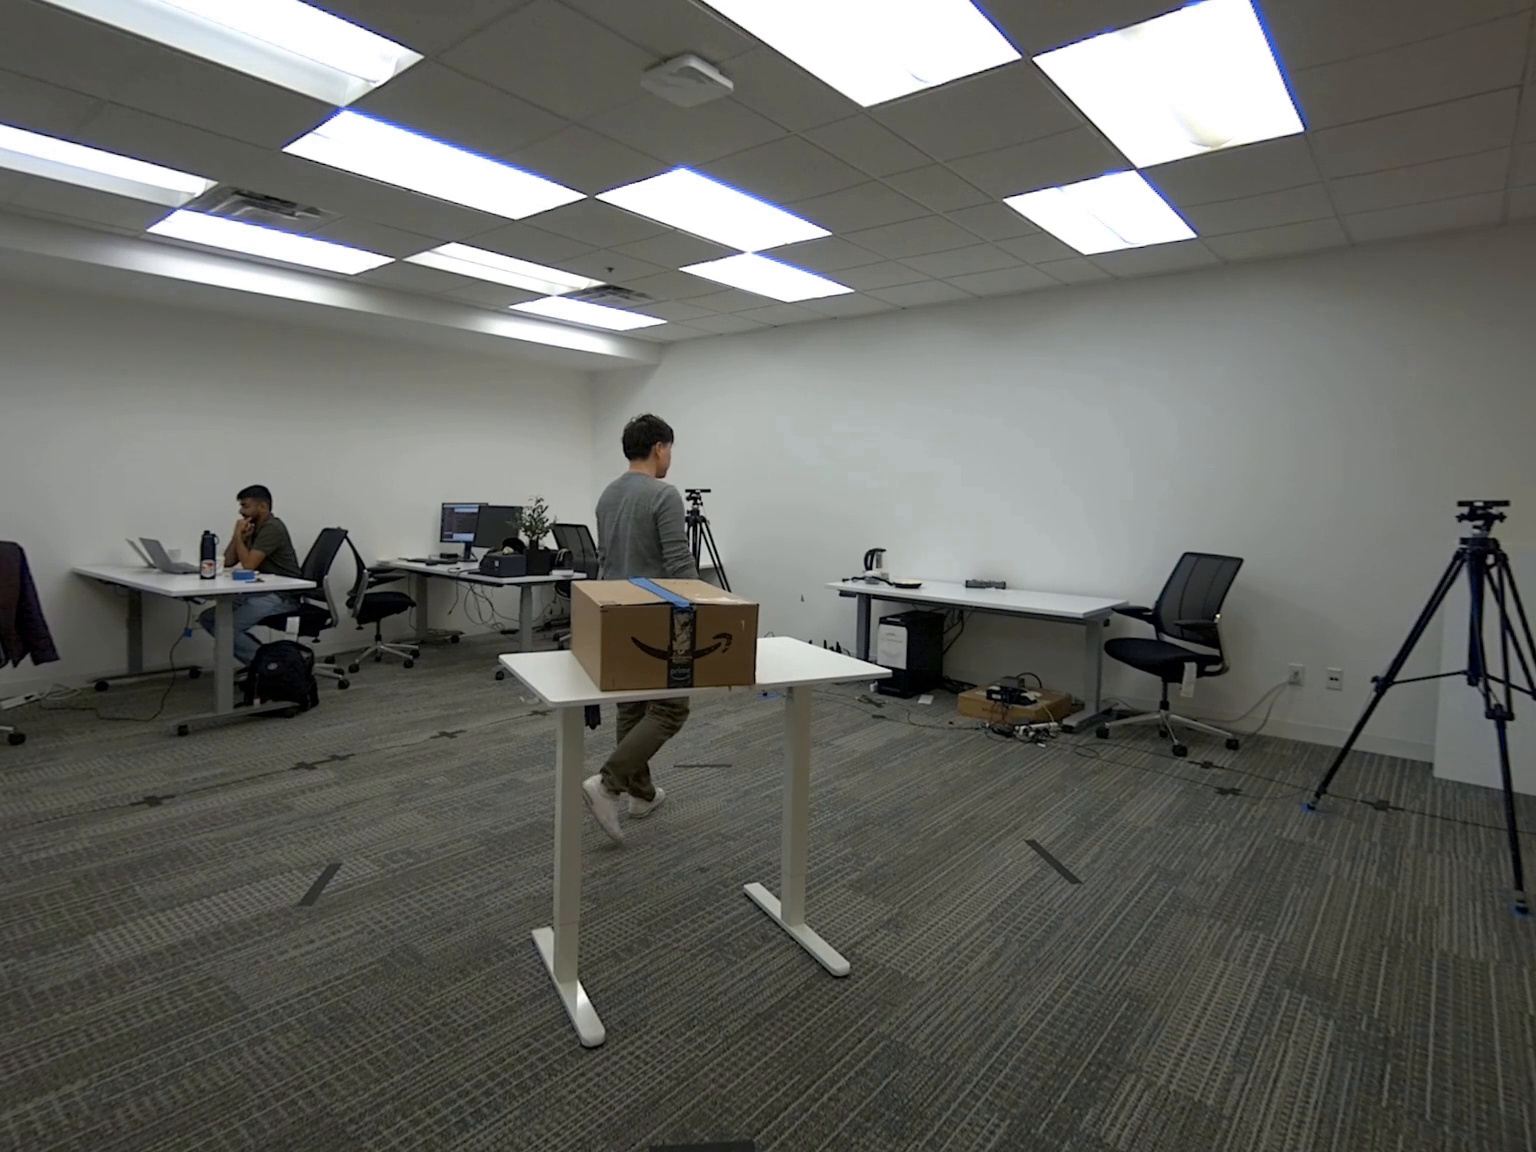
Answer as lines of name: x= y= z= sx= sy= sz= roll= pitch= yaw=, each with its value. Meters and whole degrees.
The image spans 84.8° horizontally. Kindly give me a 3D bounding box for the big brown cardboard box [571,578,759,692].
big brown cardboard box: x=-0.321 y=0.146 z=2.432 sx=0.410 sy=0.232 sz=0.602 roll=0 pitch=5 yaw=-19
